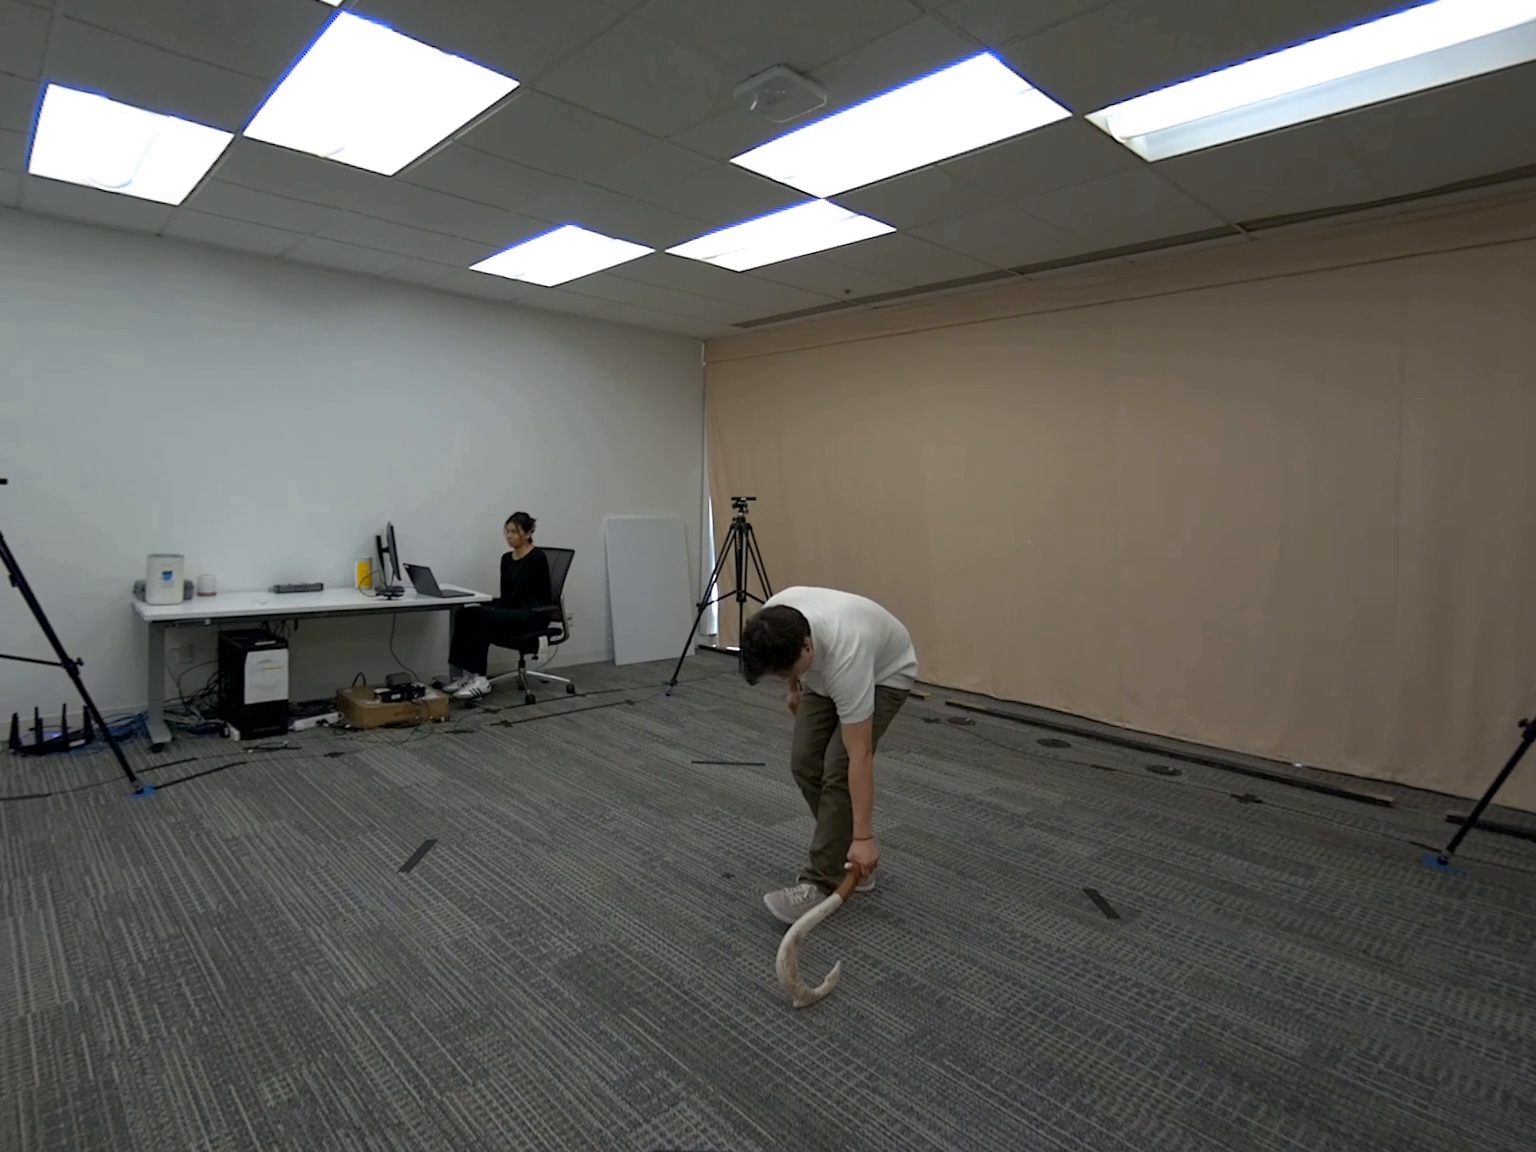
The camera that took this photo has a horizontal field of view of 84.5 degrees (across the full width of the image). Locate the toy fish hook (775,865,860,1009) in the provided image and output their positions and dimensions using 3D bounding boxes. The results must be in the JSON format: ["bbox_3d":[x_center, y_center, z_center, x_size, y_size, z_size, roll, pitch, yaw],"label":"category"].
[{"bbox_3d":[0.193,1.021,2.448,0.049,0.222,0.503,-14,18,49],"label":"toy fish hook"}]
